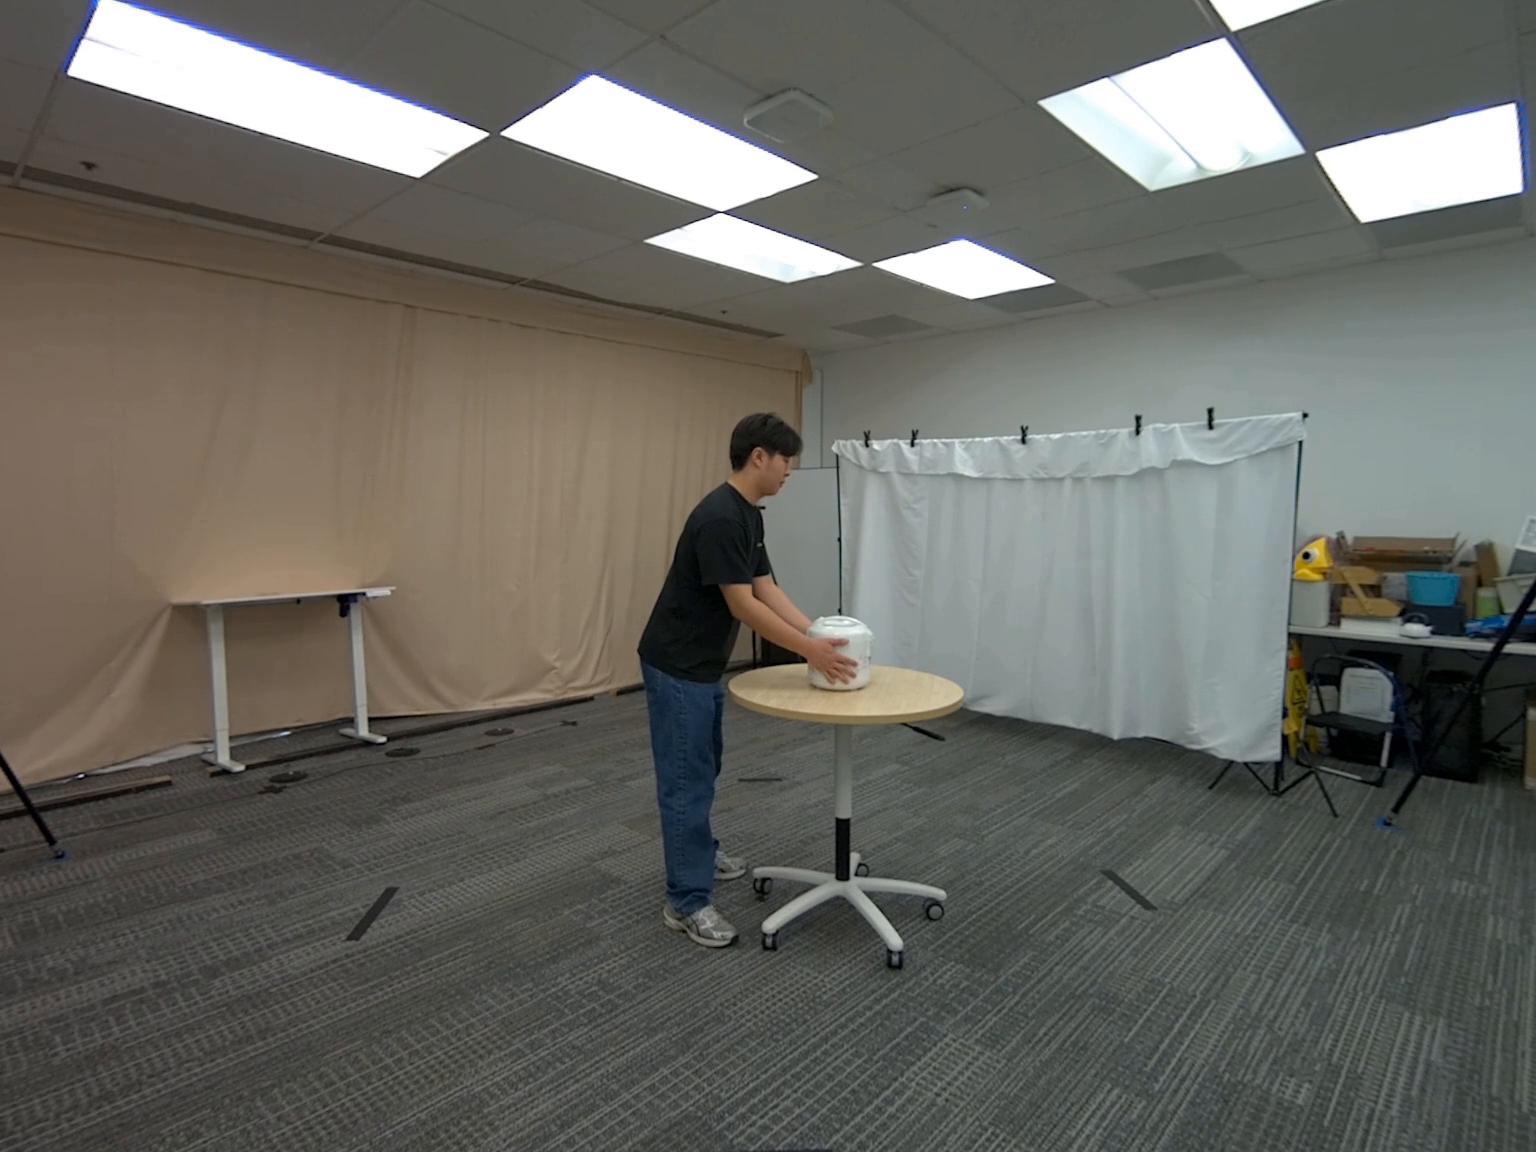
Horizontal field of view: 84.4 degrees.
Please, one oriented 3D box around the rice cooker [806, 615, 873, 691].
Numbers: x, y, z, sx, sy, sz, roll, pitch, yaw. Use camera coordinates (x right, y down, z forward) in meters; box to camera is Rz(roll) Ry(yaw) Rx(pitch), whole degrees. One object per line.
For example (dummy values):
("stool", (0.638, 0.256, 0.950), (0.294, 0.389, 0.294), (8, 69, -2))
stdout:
("rice cooker", (0.242, 0.249, 2.776), (0.224, 0.232, 0.214), (1, 4, 14))
